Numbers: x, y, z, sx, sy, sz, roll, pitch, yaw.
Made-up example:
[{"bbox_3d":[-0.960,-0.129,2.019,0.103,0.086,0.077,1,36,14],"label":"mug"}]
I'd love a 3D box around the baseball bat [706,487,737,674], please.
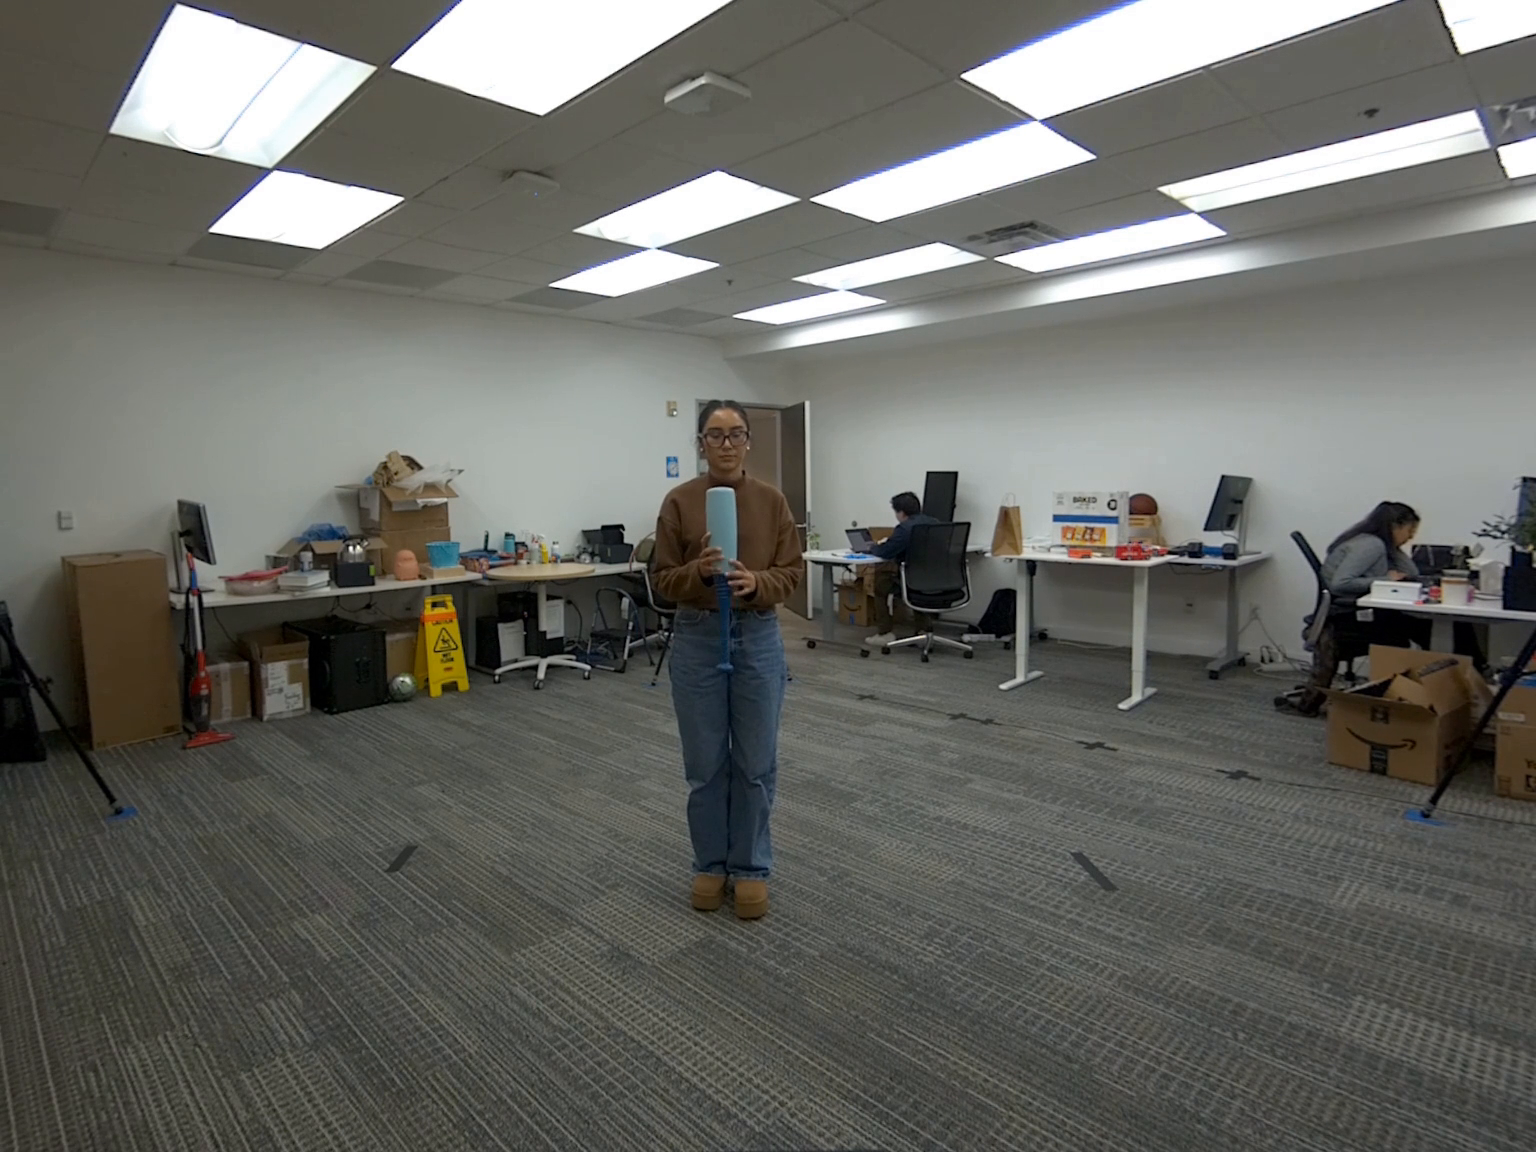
[{"bbox_3d":[-0.140,0.029,2.493,0.089,0.543,0.089,-1,0,-2],"label":"baseball bat"}]
